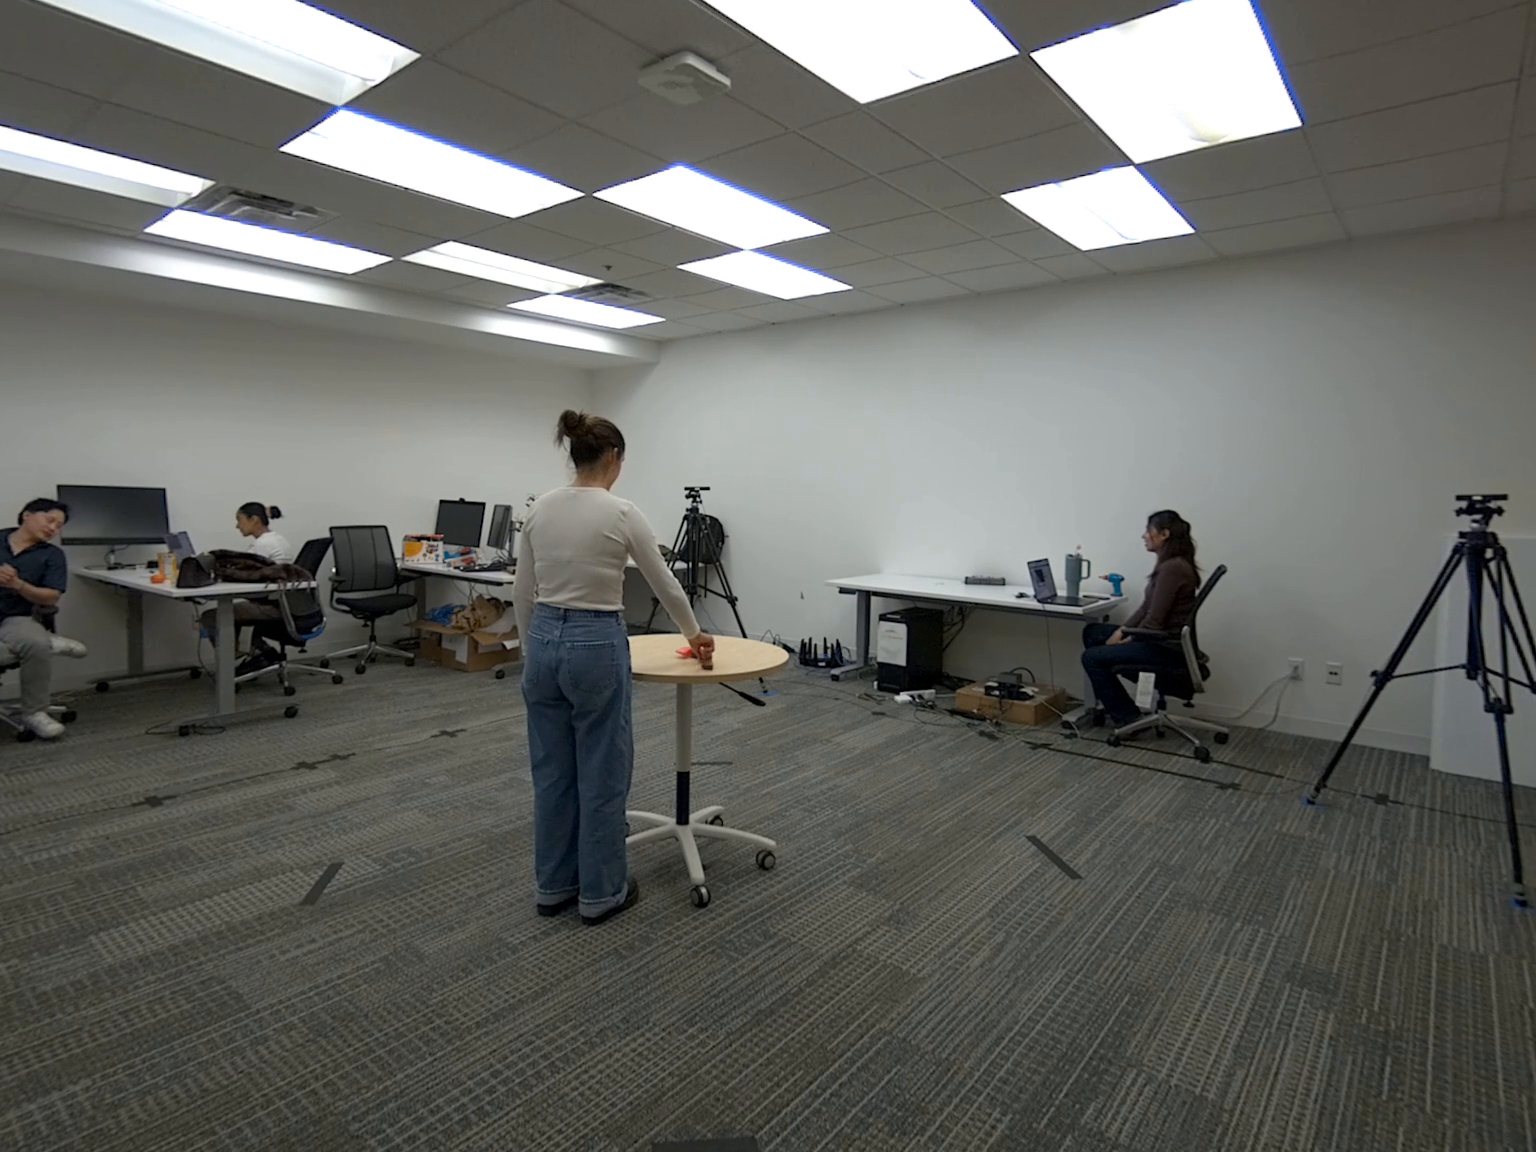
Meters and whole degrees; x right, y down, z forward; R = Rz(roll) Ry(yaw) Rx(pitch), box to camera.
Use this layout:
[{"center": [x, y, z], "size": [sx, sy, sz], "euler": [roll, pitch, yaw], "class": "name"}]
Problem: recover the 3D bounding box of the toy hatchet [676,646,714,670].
[{"center": [-0.262, 0.282, 2.971], "size": [0.130, 0.029, 0.273], "euler": [8, 5, -7], "class": "toy hatchet"}]
